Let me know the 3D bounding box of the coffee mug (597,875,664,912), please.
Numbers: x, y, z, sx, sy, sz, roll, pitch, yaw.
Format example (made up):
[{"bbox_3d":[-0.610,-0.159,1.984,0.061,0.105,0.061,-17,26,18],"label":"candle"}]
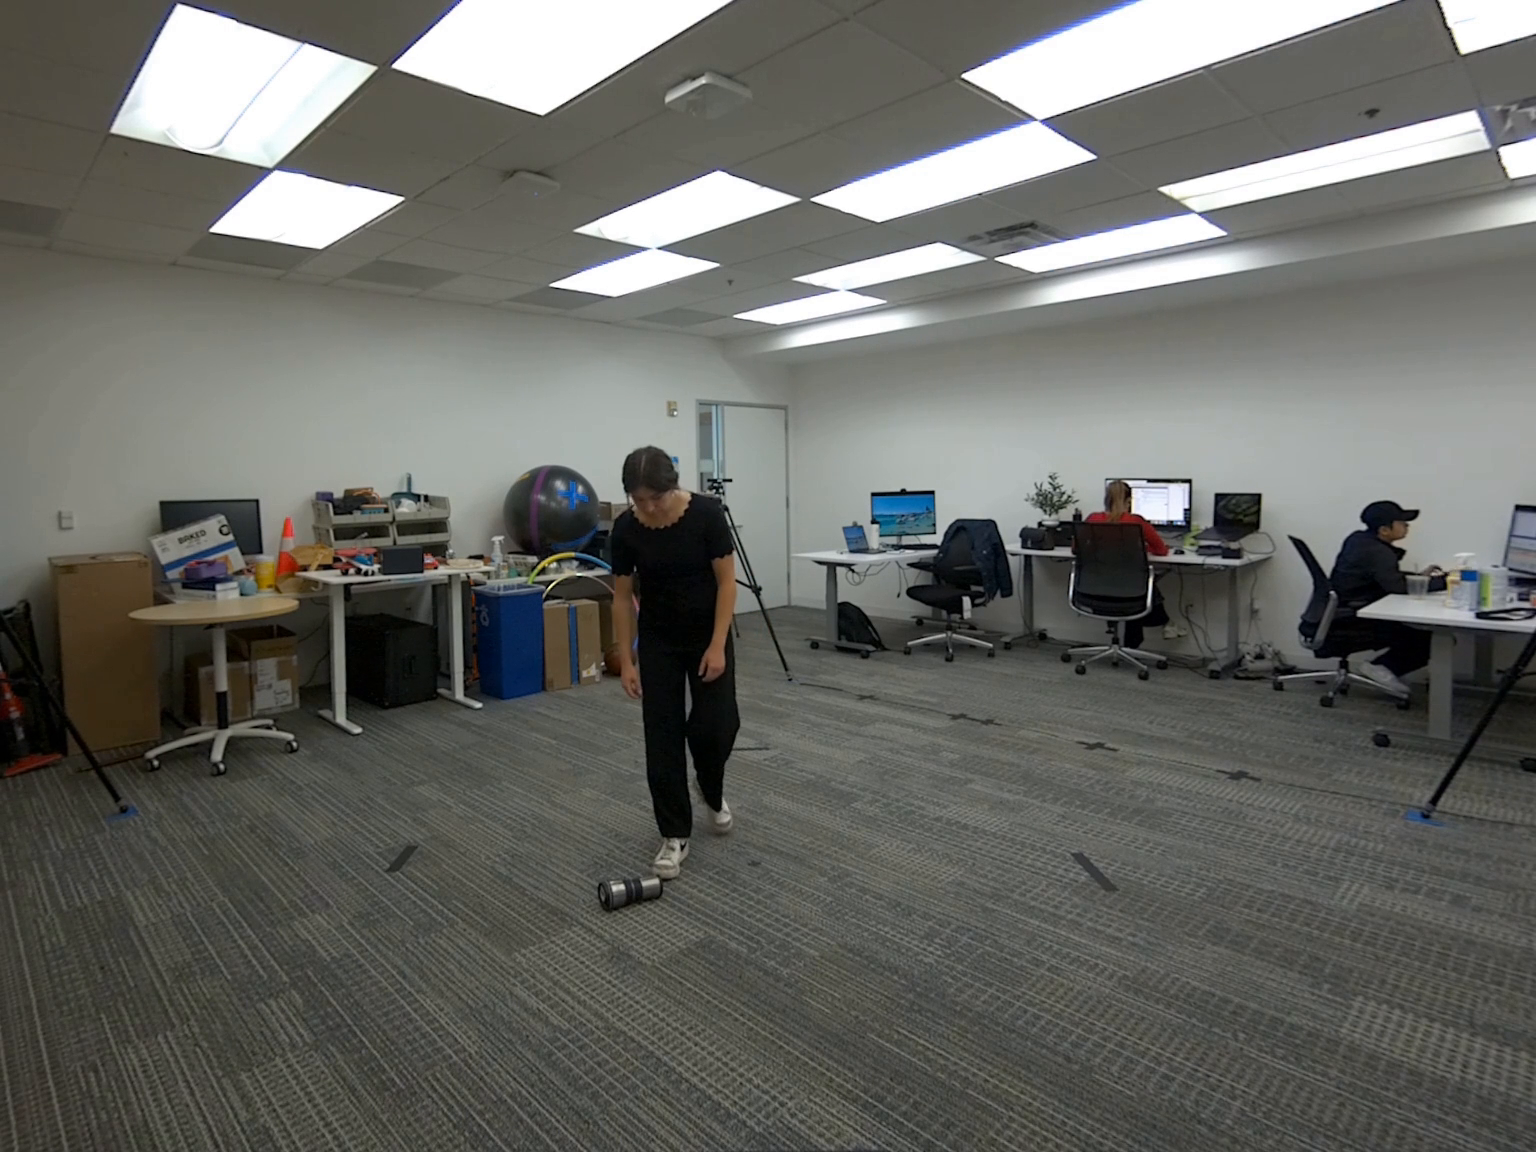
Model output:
[{"bbox_3d":[-0.459,1.033,2.847,0.198,0.087,0.126,-3,17,-29],"label":"coffee mug"}]
